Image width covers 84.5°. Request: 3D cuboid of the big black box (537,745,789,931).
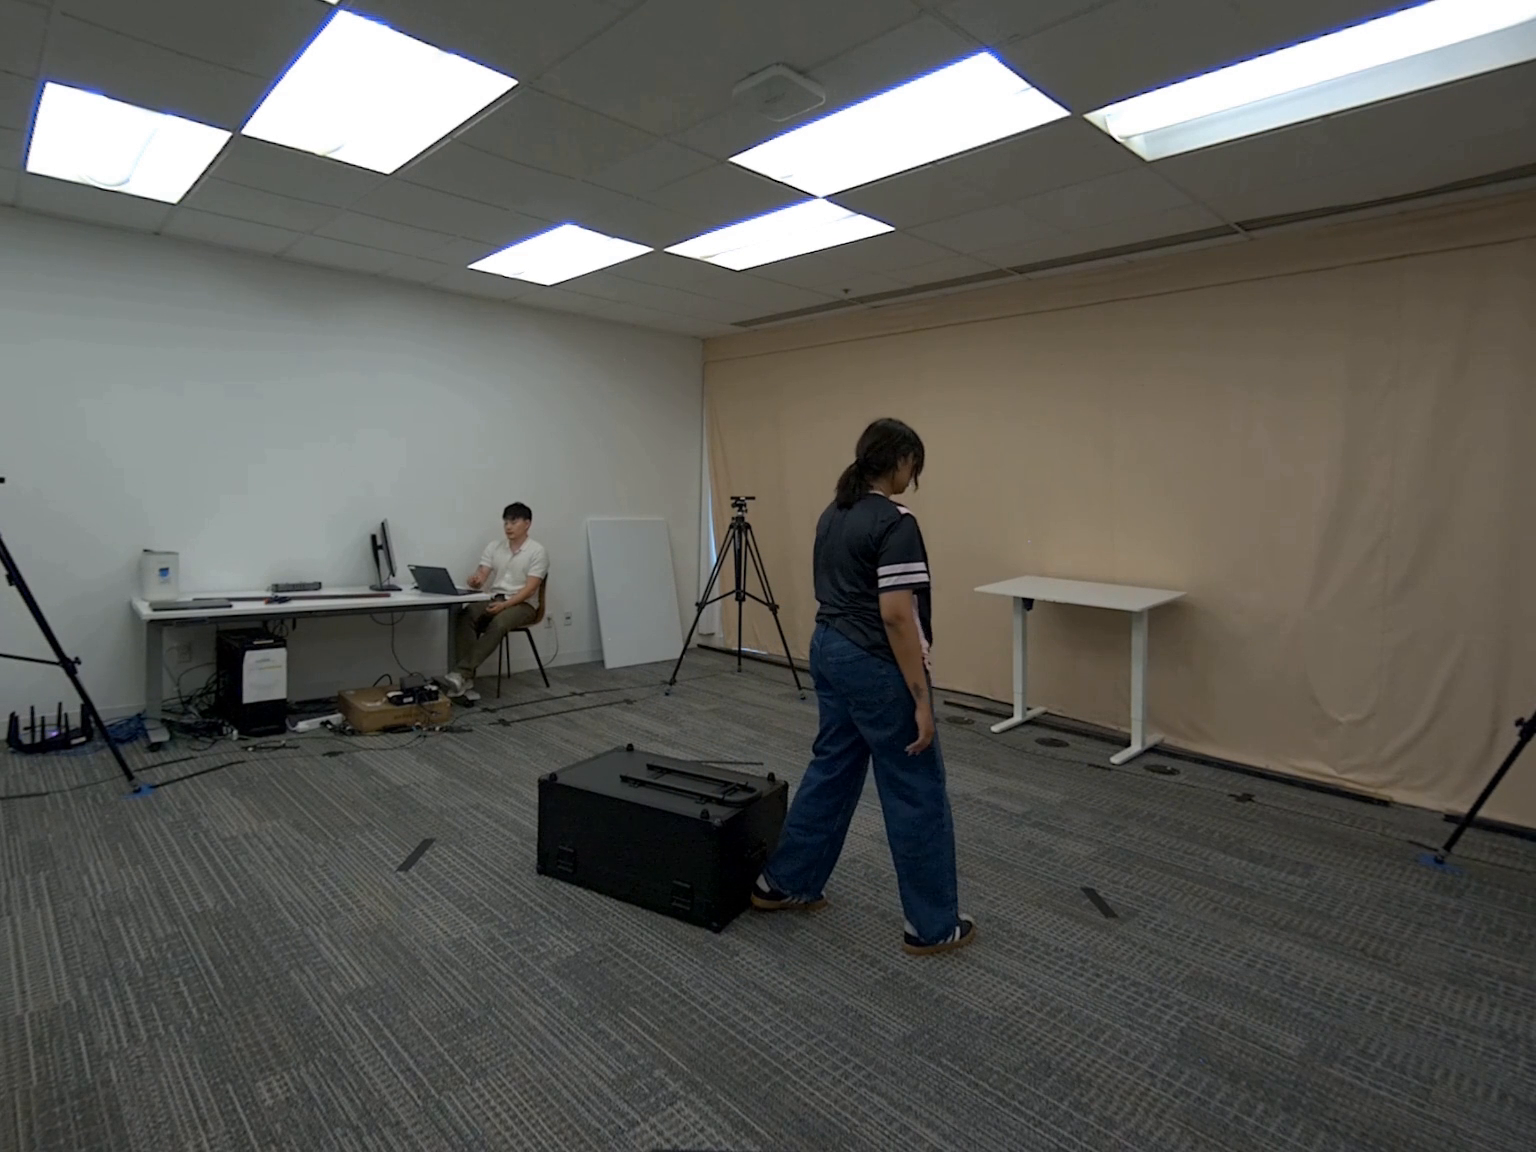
[{"bbox_3d":[-0.427,0.915,3.089,0.887,0.384,0.514,4,7,29],"label":"big black box"}]
